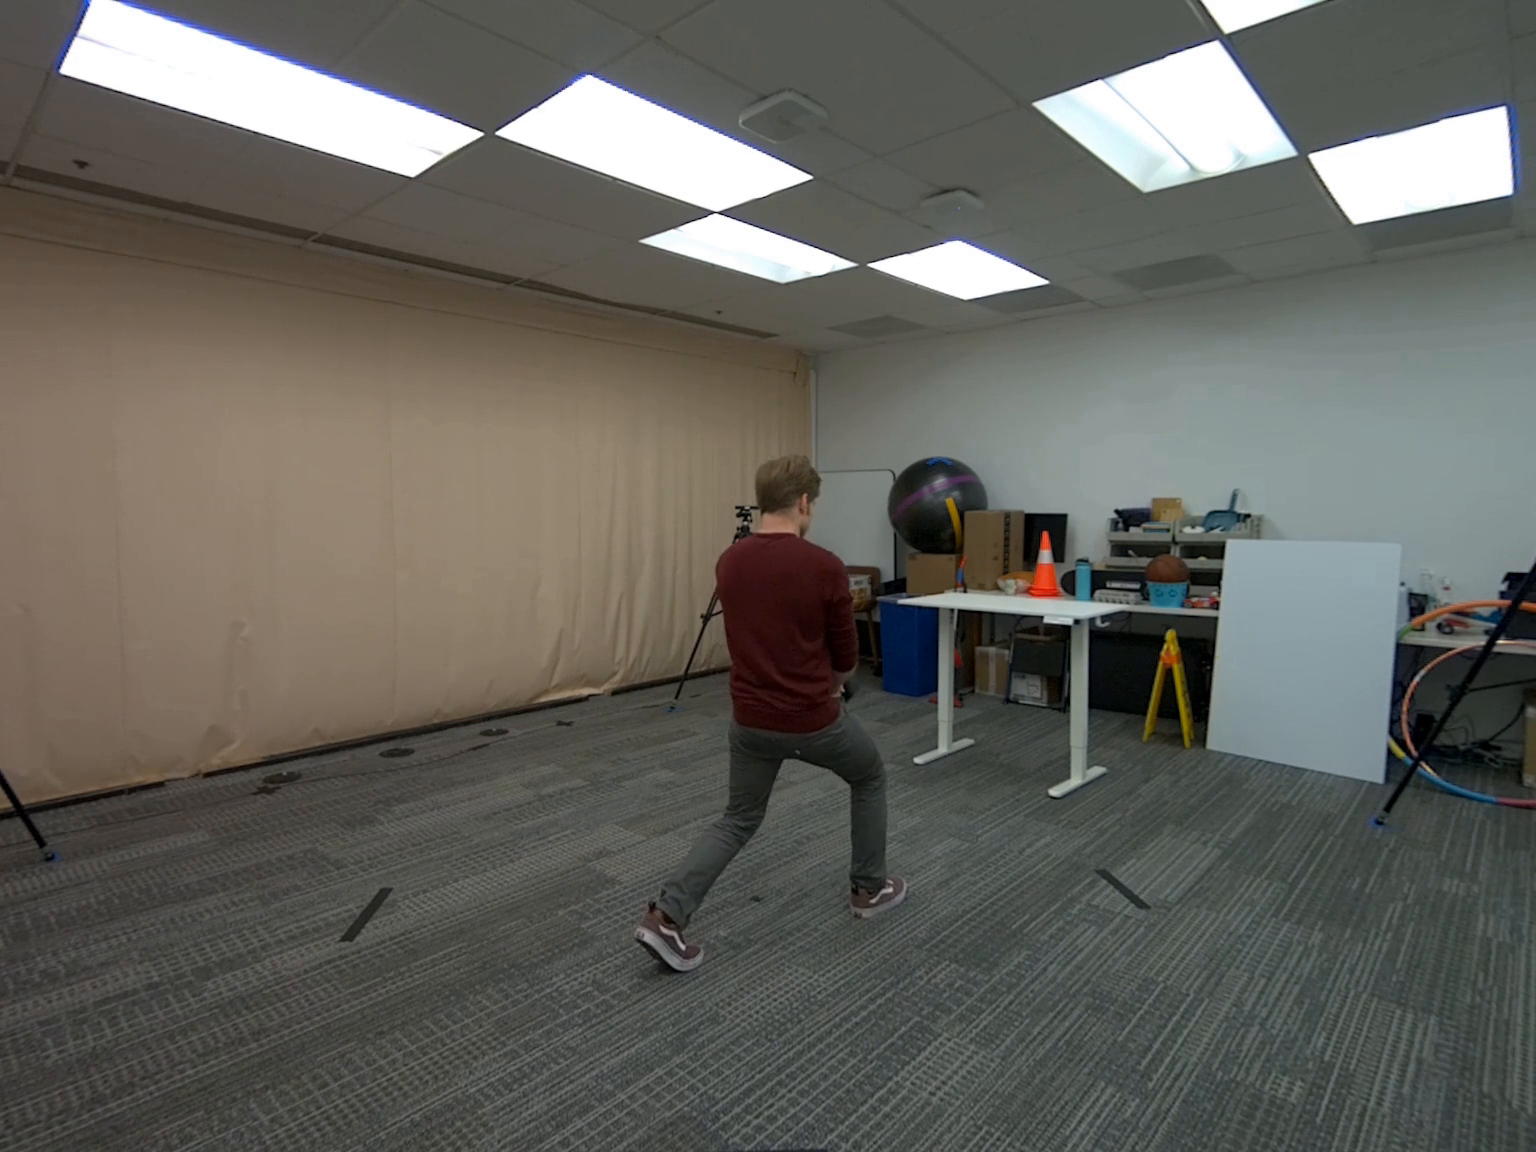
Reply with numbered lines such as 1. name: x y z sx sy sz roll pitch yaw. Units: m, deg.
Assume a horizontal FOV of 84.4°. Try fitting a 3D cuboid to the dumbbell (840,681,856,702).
1. dumbbell: 0.215 0.429 2.952 0.111 0.123 0.287 44 34 16
